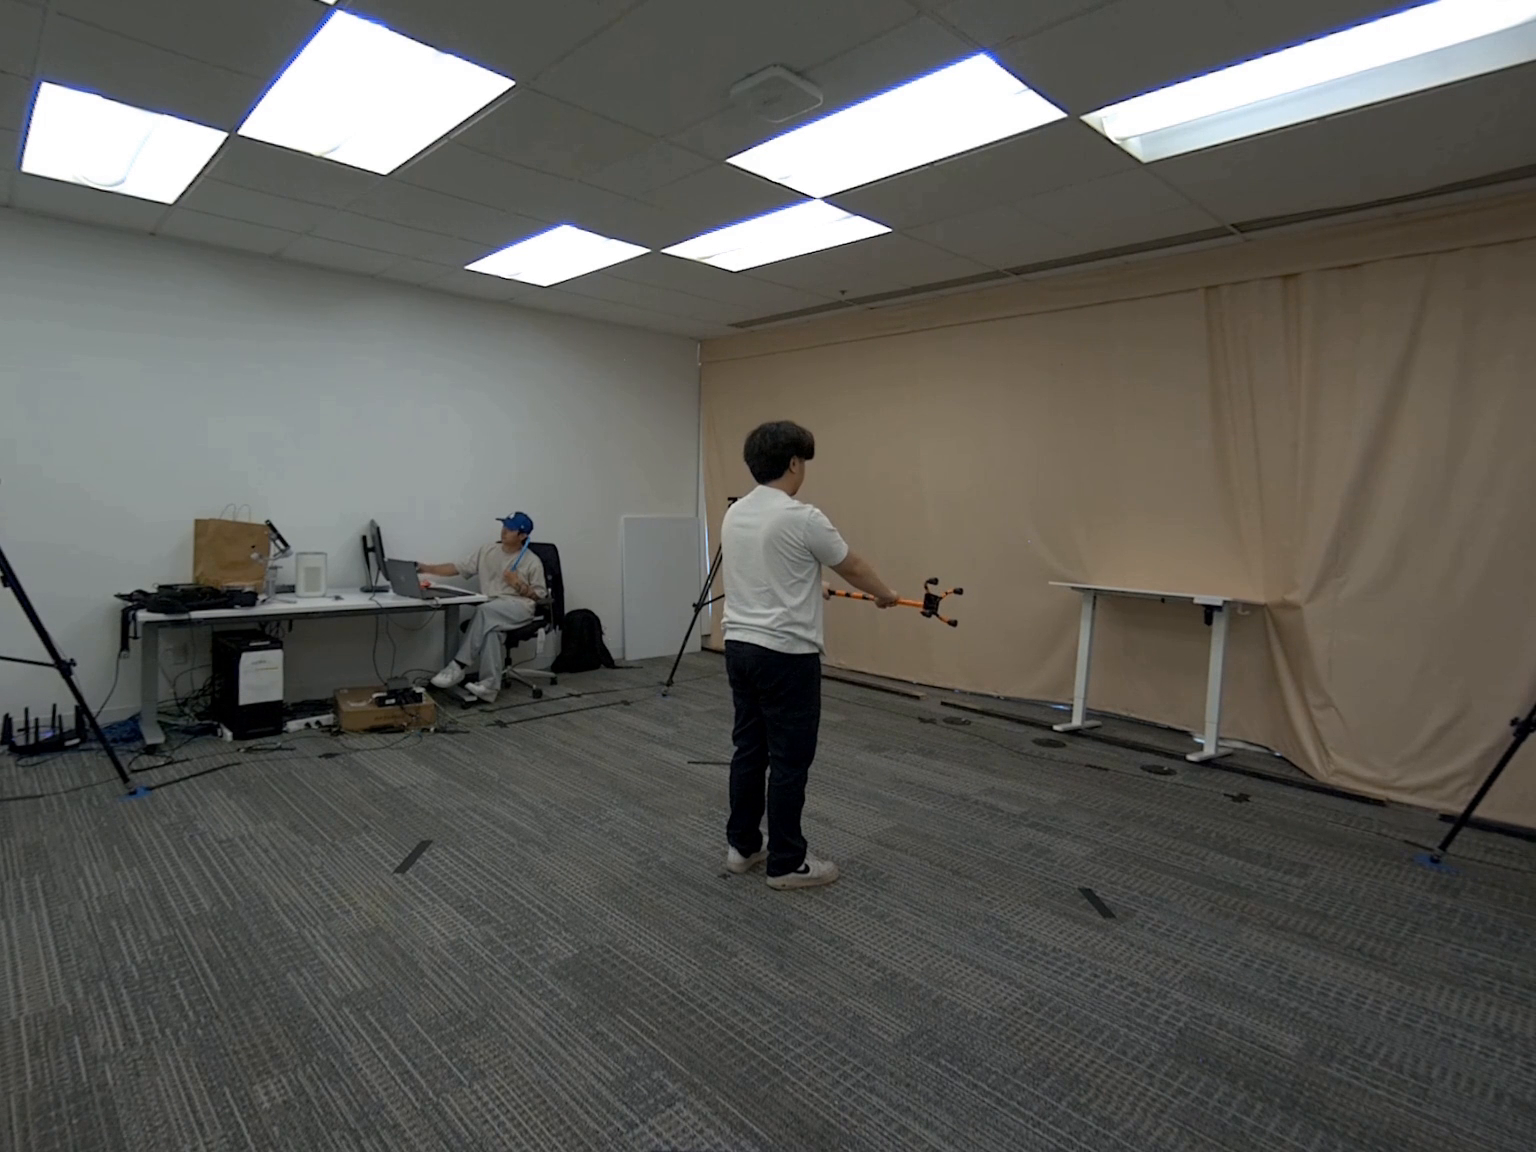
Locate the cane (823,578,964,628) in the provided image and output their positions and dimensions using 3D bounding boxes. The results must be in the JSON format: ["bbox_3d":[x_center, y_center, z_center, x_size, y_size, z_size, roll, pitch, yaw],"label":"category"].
[{"bbox_3d":[0.328,0.056,3.449,0.200,0.152,0.931,19,-8,-43],"label":"cane"}]
